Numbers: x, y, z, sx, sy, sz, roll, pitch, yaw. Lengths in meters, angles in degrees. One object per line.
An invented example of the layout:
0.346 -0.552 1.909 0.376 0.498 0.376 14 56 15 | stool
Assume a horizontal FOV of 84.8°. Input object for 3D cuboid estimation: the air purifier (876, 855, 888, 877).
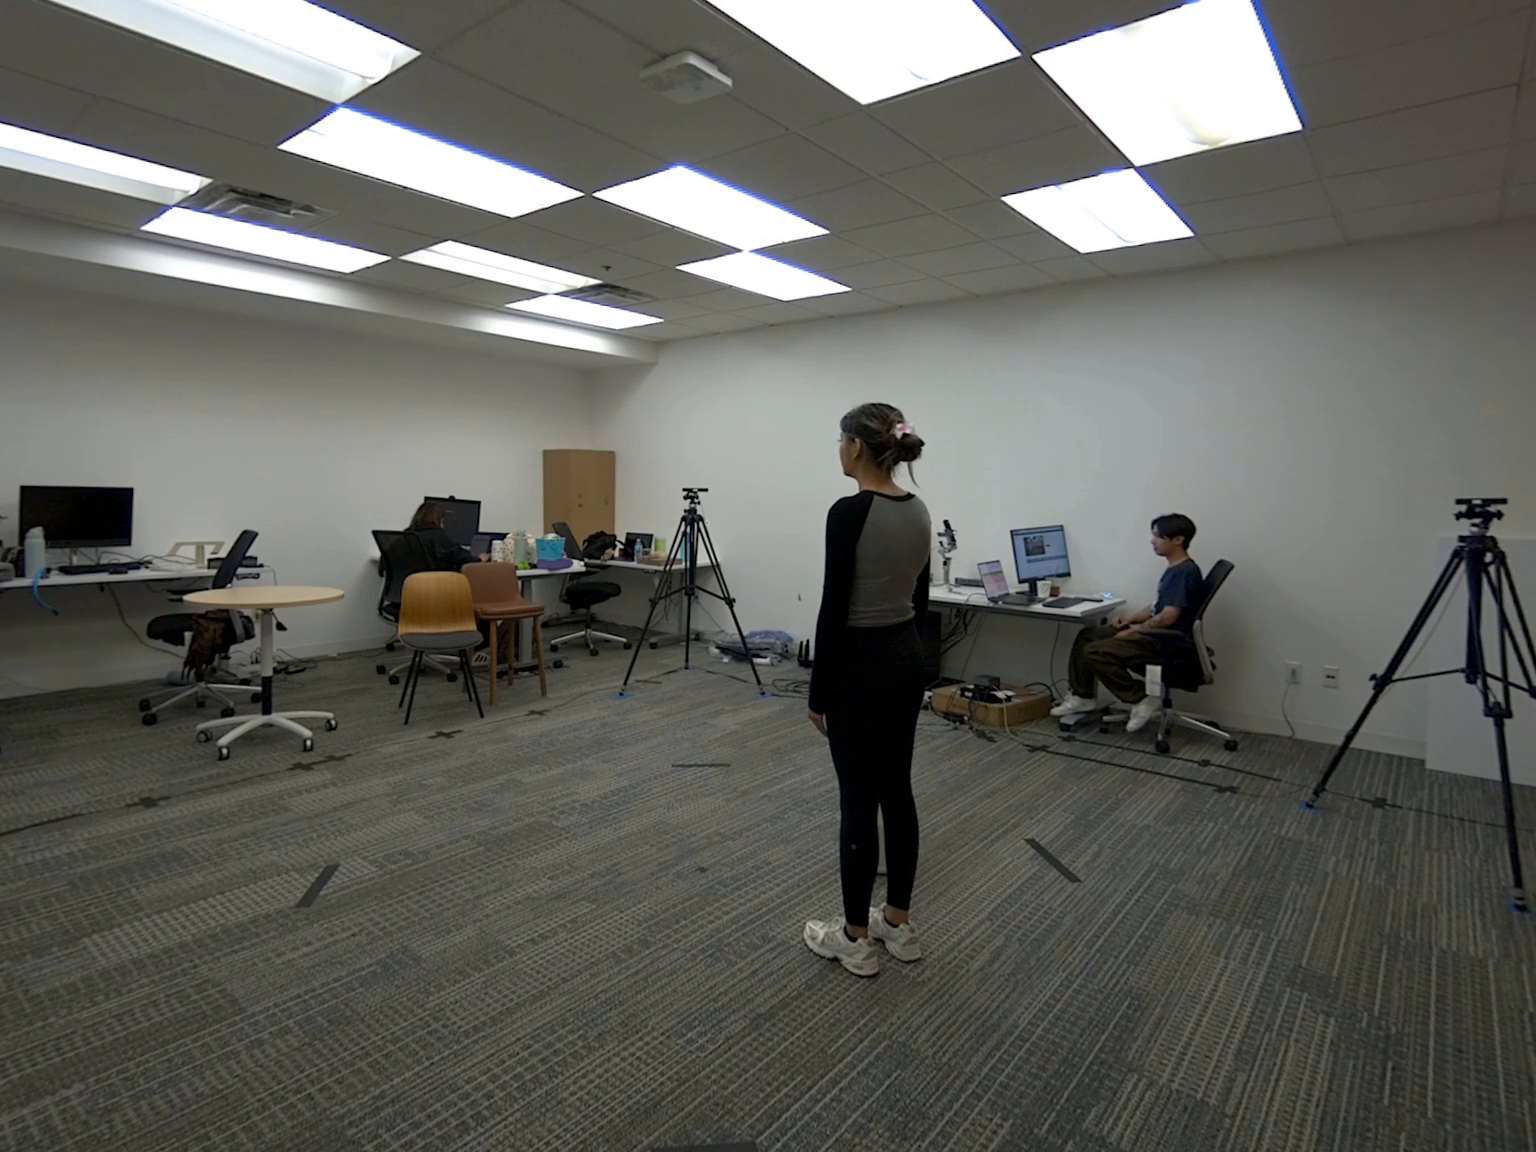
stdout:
0.386 0.937 3.161 0.172 0.264 0.171 1 4 4 | air purifier
